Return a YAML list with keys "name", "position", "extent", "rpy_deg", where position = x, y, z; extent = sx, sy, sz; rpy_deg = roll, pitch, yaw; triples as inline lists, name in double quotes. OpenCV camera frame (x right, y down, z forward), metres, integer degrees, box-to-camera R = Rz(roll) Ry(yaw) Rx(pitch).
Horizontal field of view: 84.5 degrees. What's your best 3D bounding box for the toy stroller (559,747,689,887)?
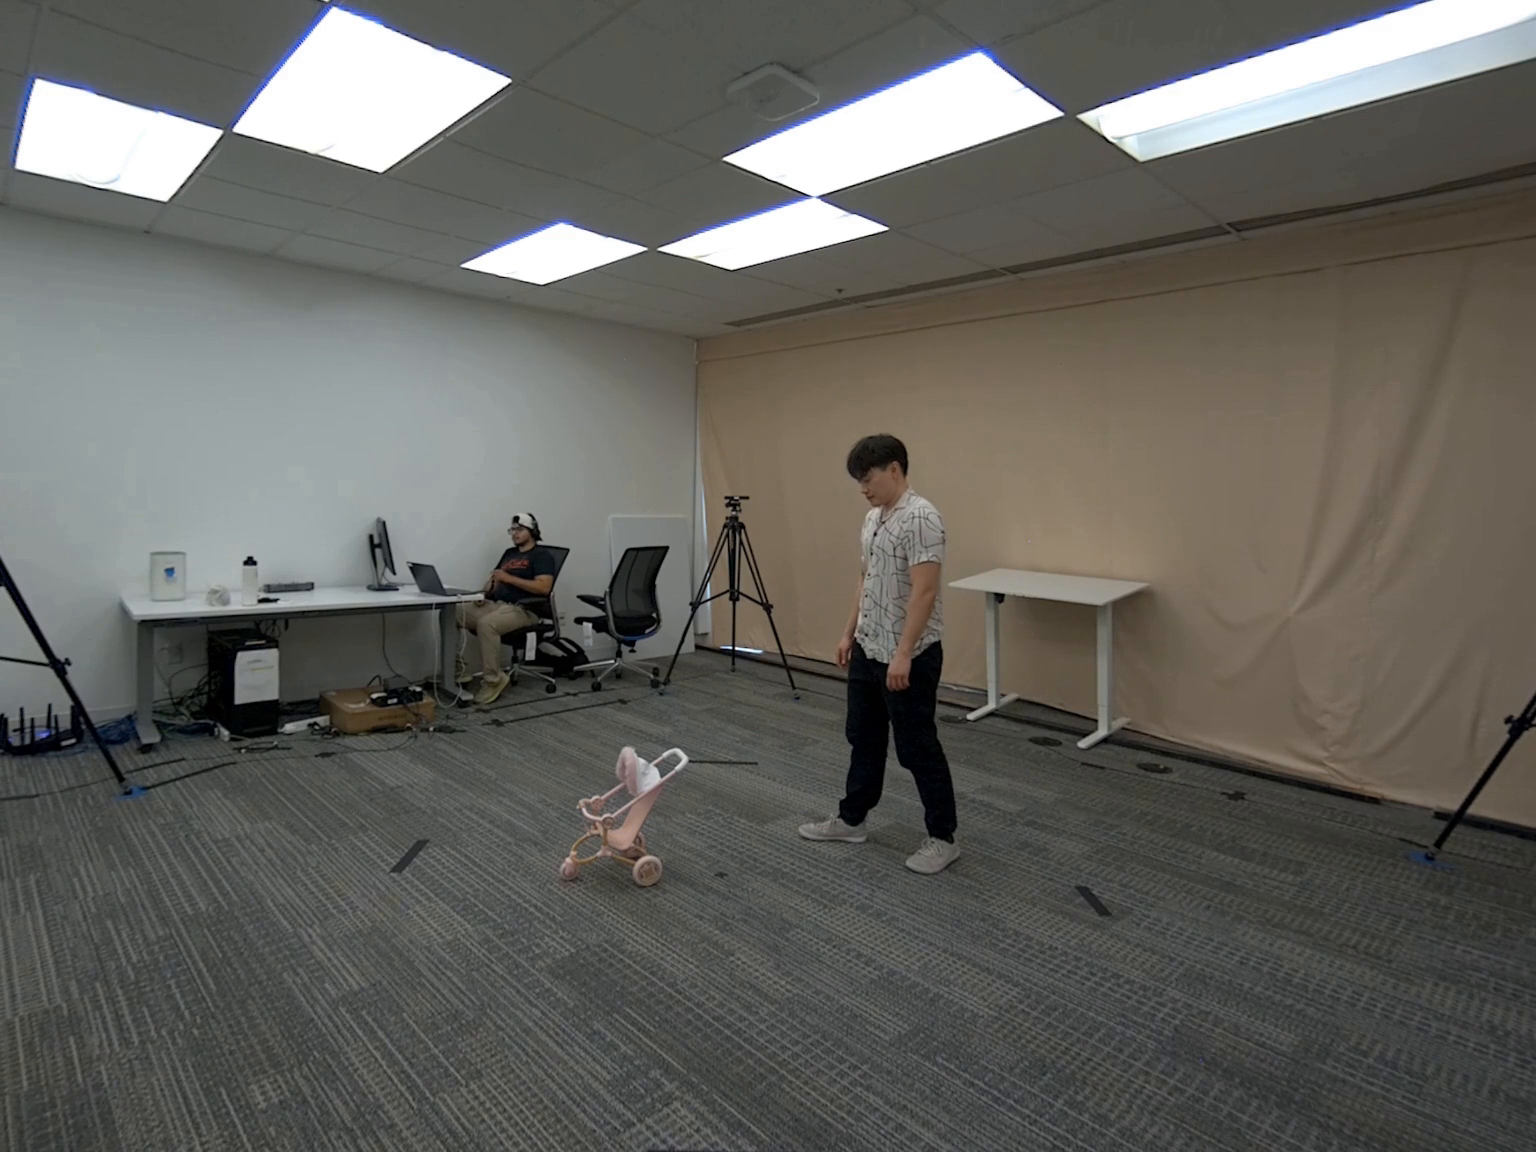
- name: "toy stroller"
  position: [-0.541, 0.871, 3.085]
  extent: [0.336, 0.535, 0.286]
  rpy_deg: [16, -1, -17]
